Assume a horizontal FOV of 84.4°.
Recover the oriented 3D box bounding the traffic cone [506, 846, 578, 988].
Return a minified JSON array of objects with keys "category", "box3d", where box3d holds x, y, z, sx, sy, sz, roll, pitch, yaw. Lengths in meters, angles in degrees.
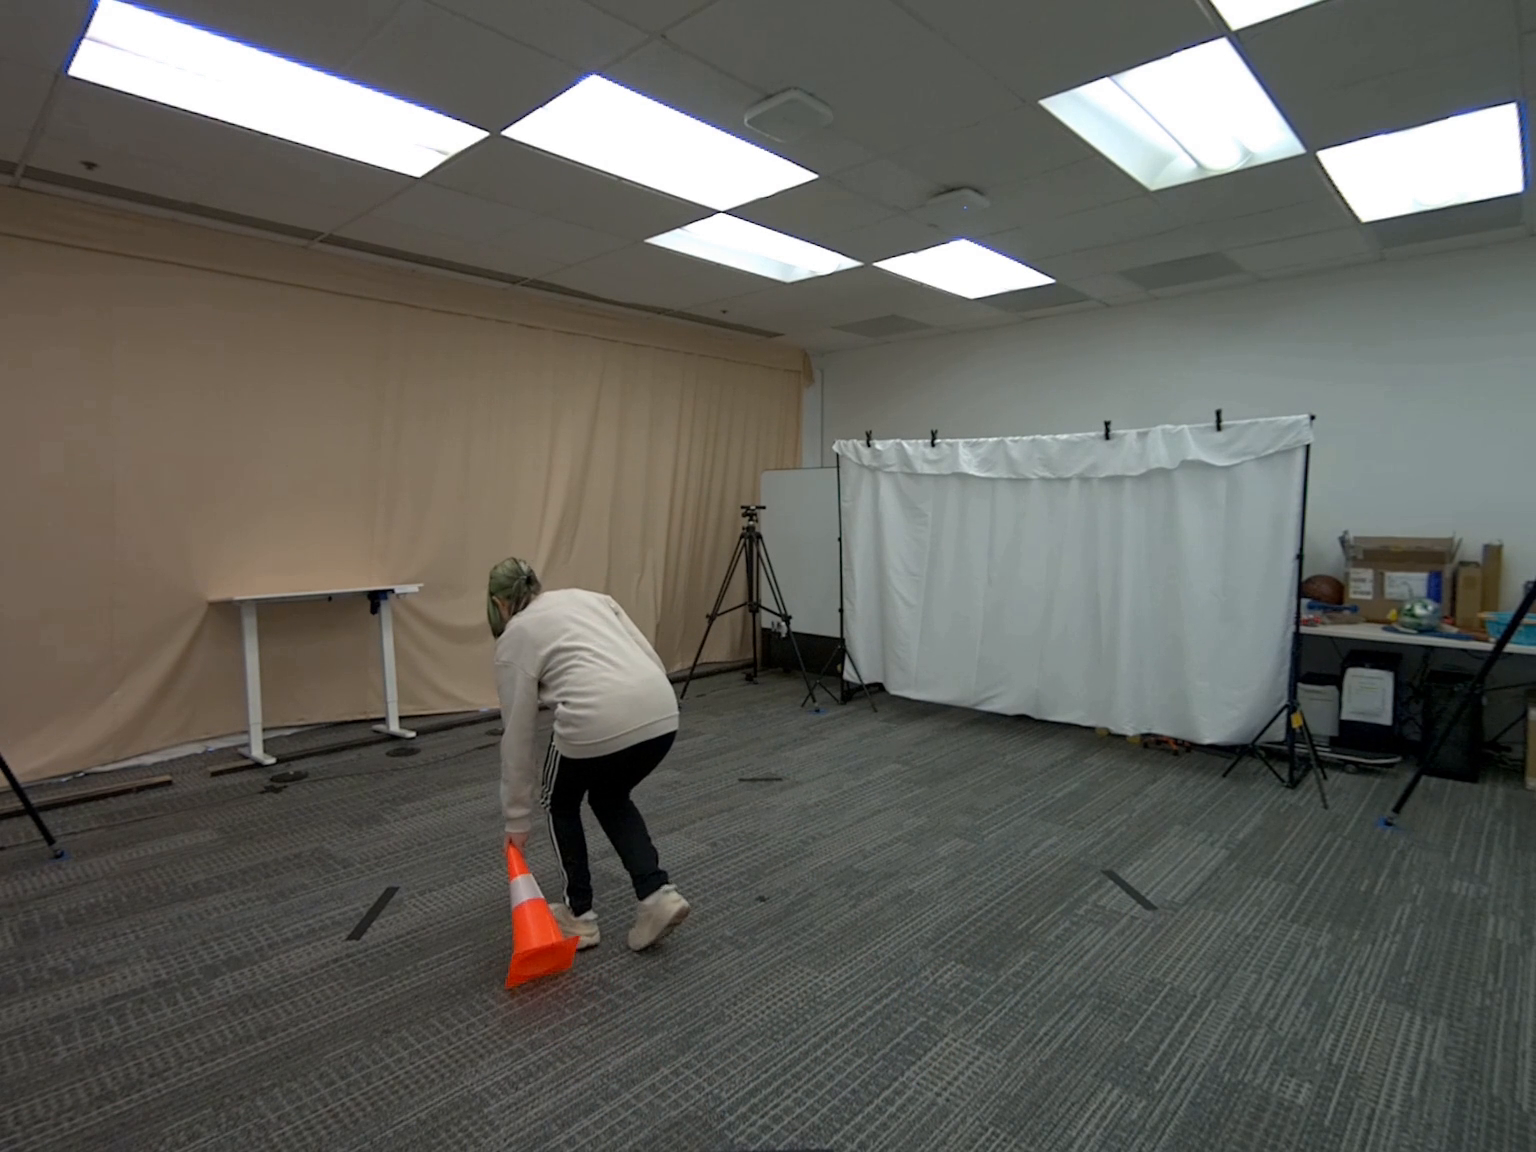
[{"category":"traffic cone","box3d":[-0.737,0.983,2.543,0.199,0.202,0.396,-1,41,-31]}]
